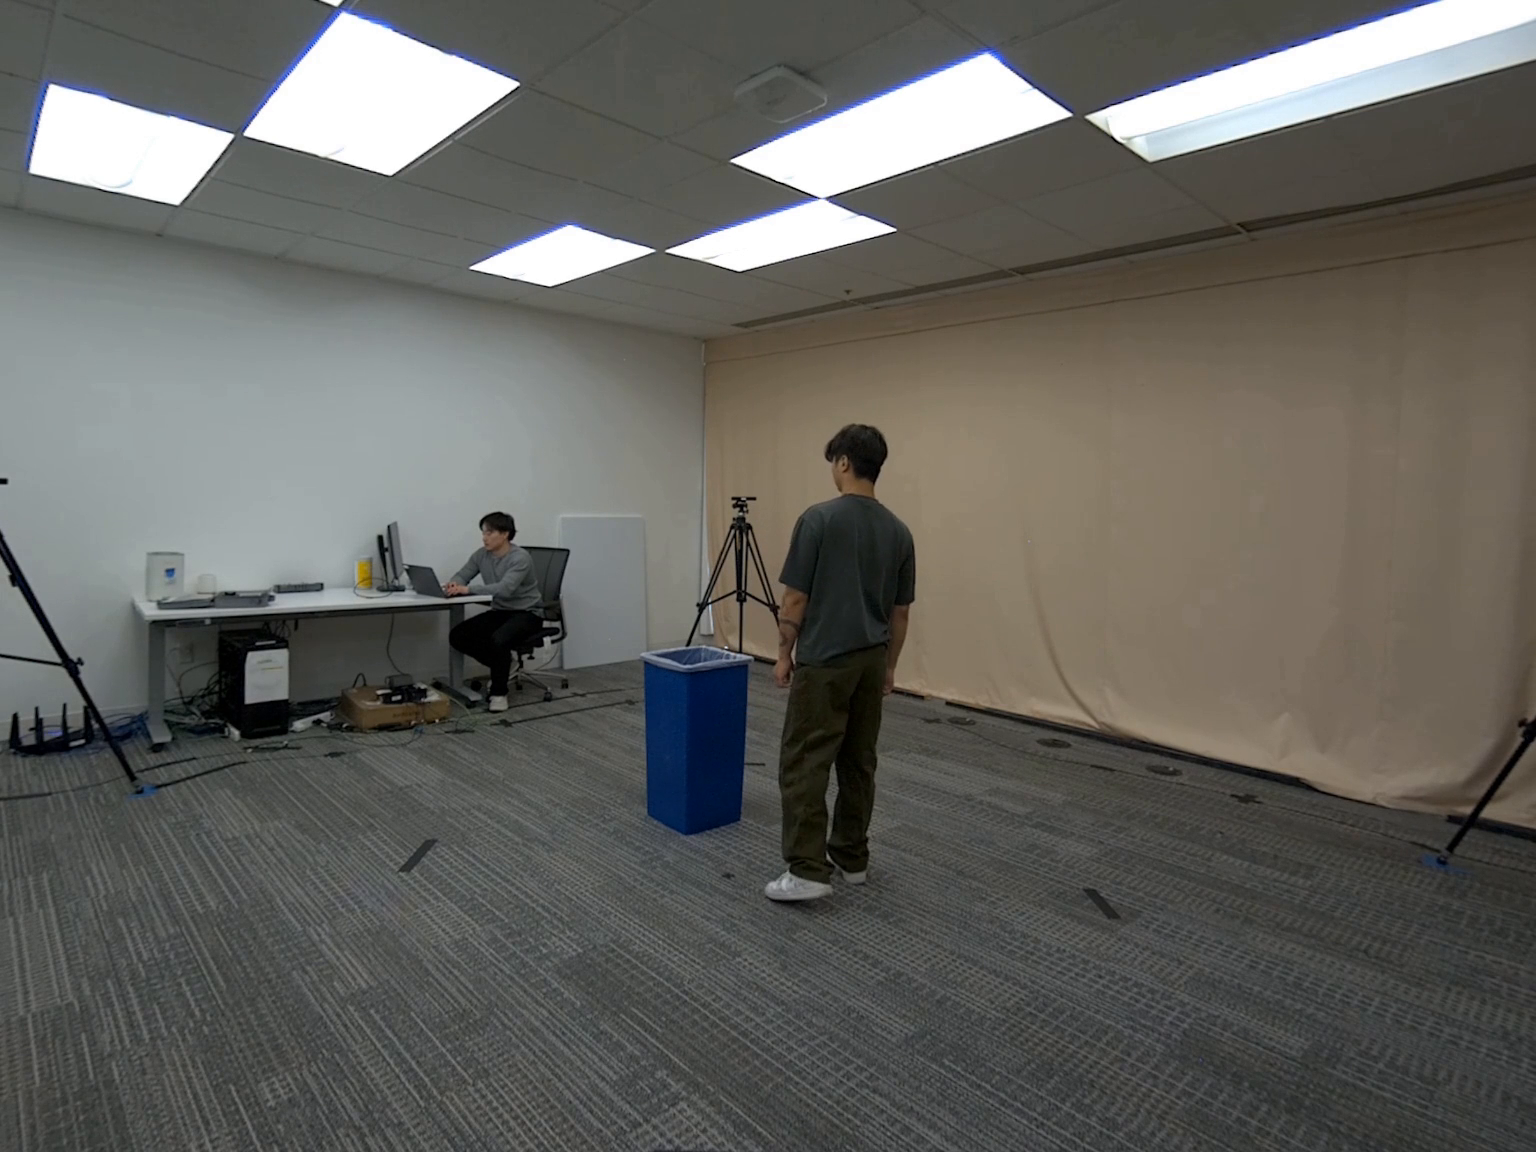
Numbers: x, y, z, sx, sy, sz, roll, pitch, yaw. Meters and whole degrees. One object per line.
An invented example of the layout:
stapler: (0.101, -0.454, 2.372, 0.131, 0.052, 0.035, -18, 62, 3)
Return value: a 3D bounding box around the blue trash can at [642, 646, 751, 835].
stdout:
blue trash can: (-0.317, 0.696, 3.652, 0.369, 0.712, 0.383, -2, 4, -42)
